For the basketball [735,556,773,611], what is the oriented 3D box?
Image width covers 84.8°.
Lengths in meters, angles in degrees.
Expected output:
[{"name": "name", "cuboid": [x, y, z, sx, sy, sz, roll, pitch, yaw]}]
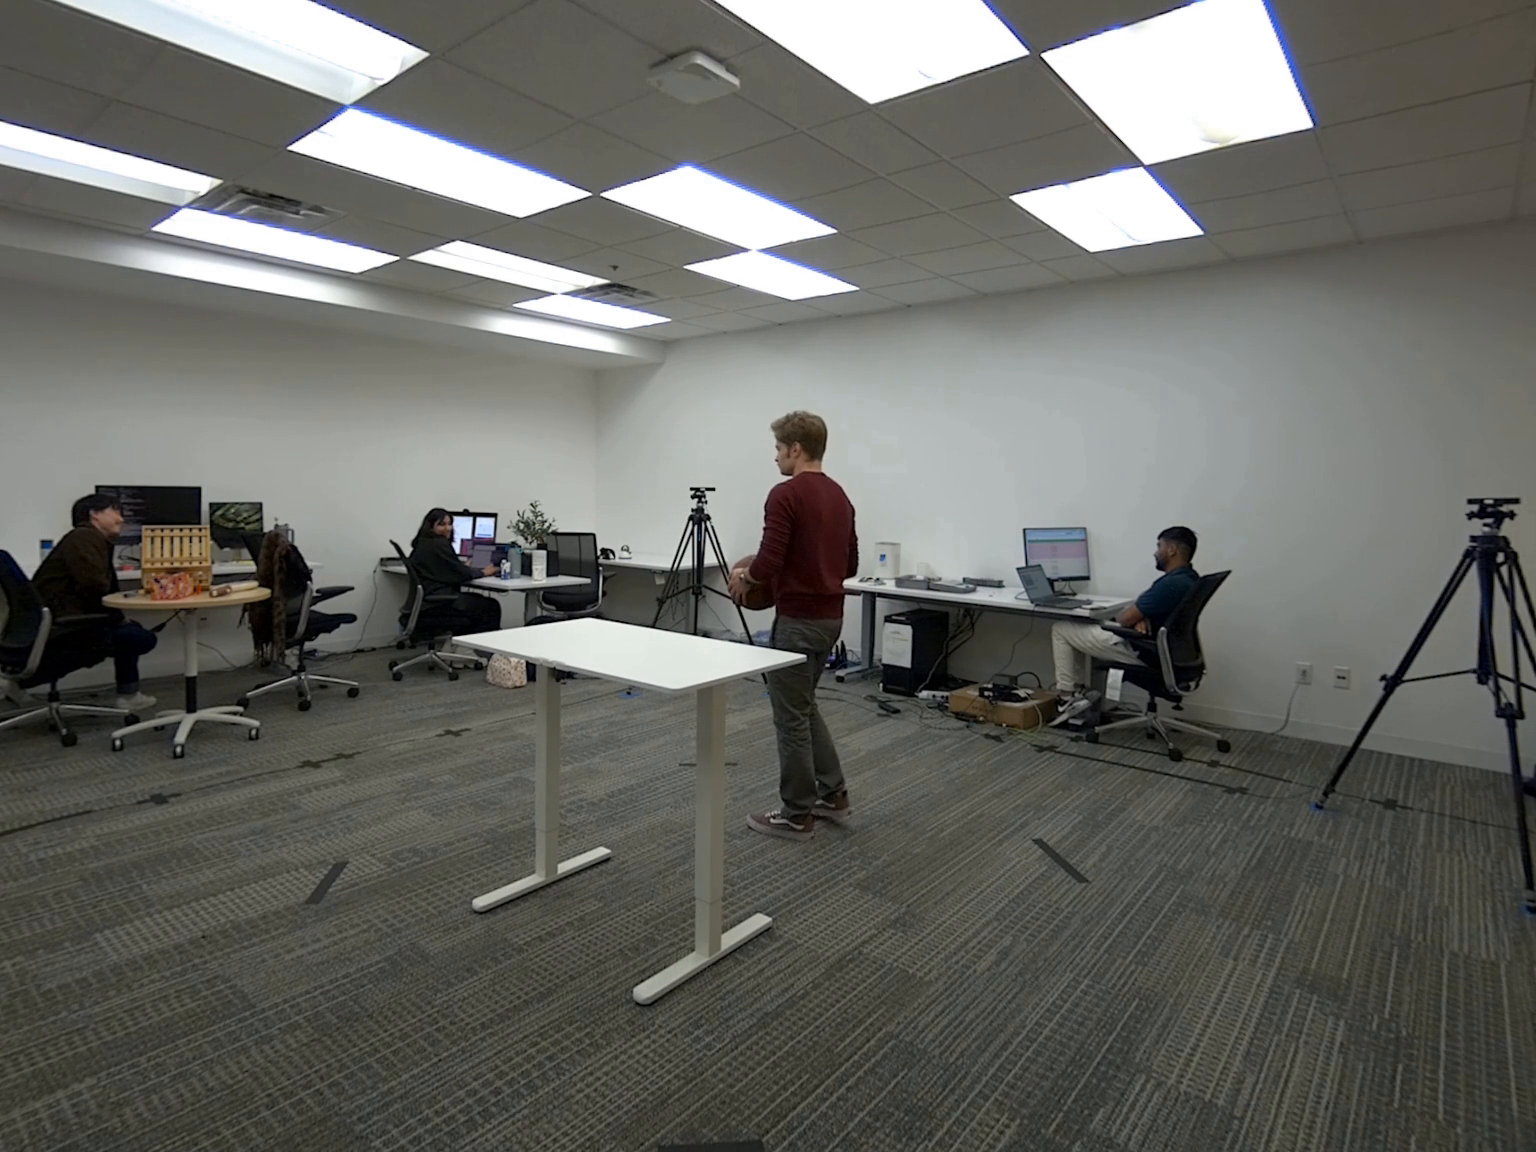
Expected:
[{"name": "basketball", "cuboid": [-0.049, 0.023, 3.634, 0.235, 0.235, 0.237, 1, 4, -2]}]
